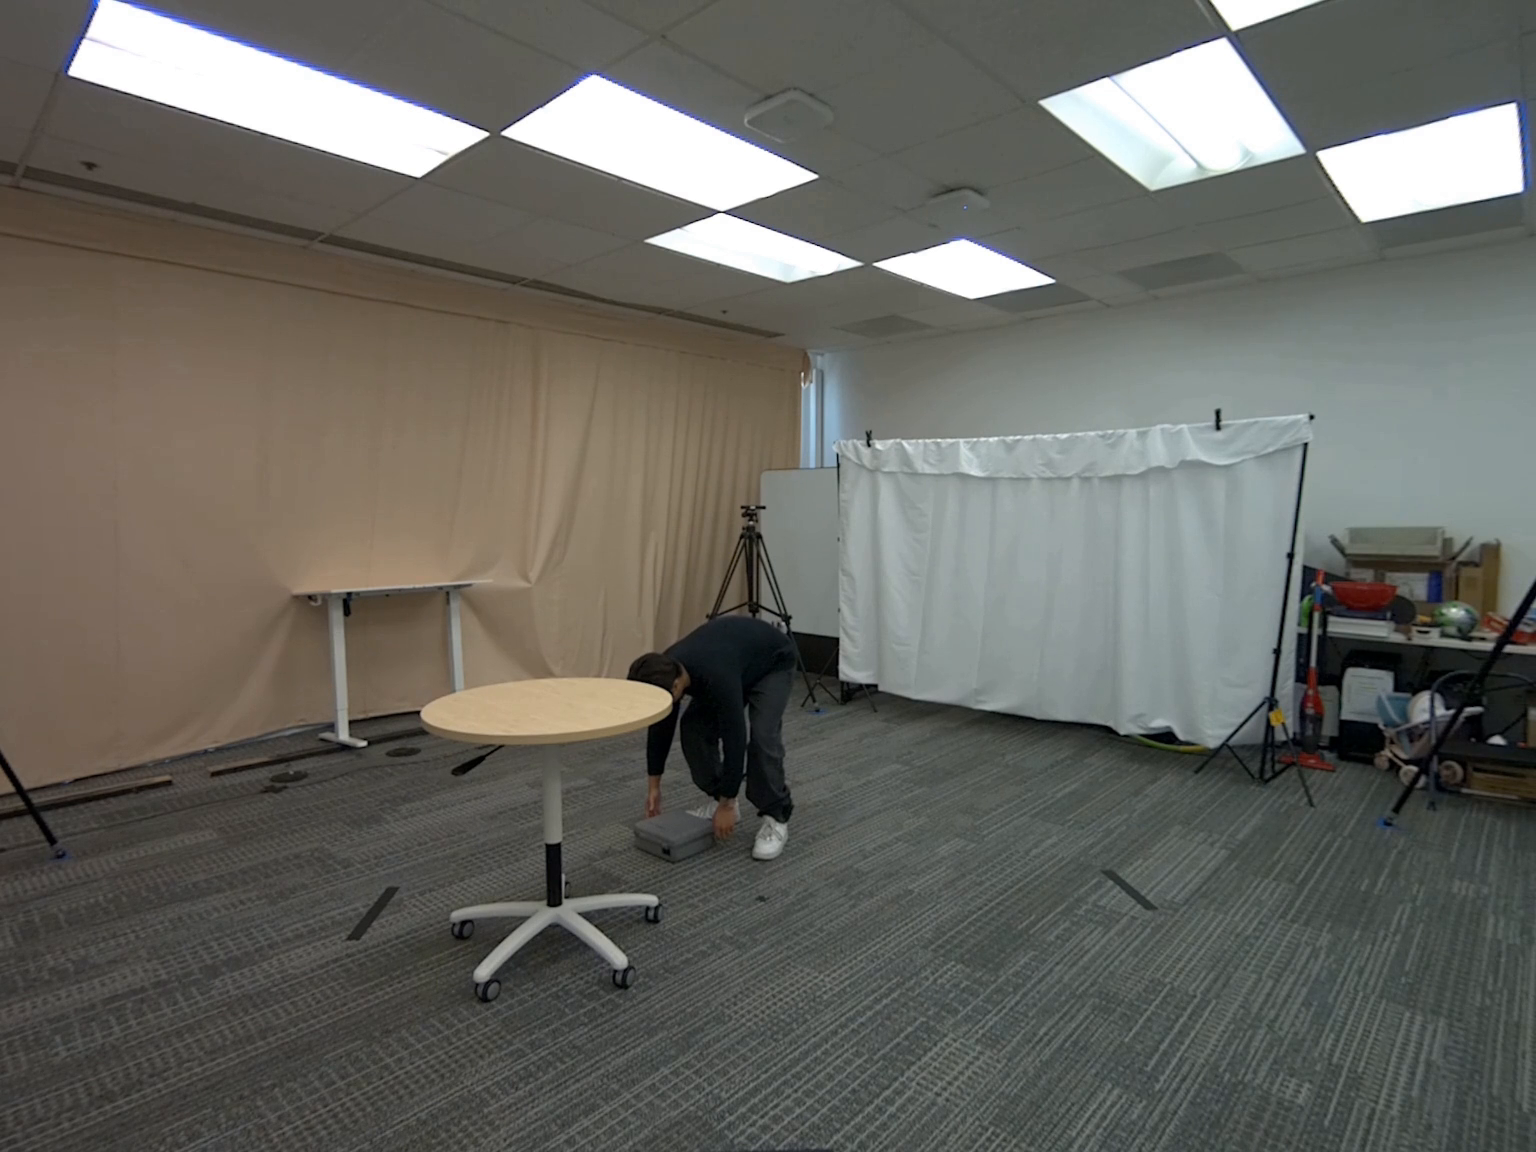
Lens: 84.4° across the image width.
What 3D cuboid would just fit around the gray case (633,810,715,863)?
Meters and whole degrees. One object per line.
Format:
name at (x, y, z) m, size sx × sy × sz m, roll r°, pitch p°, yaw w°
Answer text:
gray case at (-0.378, 1.048, 3.450) m, size 0.265 × 0.104 × 0.253 m, roll 1°, pitch 4°, yaw 42°
